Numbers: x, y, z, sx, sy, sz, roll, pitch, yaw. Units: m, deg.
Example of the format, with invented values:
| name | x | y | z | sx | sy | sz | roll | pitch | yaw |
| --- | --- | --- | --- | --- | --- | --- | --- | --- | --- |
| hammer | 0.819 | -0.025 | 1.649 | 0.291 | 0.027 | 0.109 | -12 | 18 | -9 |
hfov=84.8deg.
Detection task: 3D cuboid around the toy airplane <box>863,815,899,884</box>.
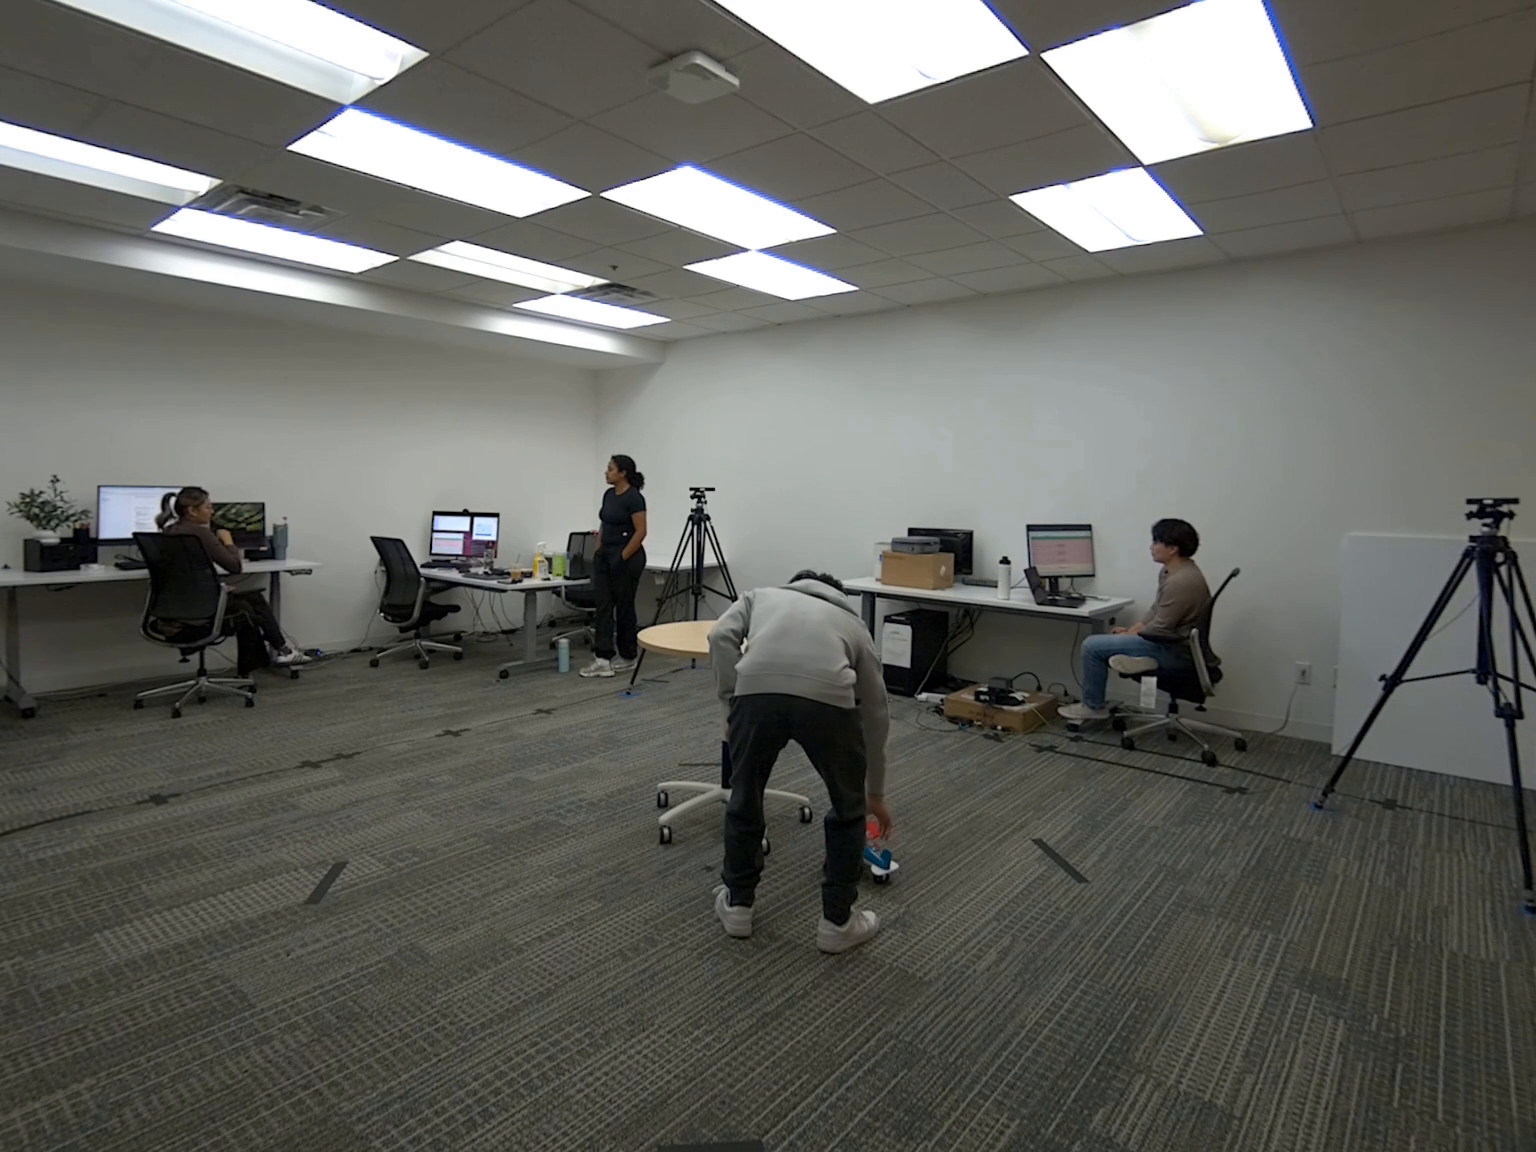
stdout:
| name | x | y | z | sx | sy | sz | roll | pitch | yaw |
| --- | --- | --- | --- | --- | --- | --- | --- | --- | --- |
| toy airplane | 0.347 | 1.003 | 3.111 | 0.265 | 0.156 | 0.246 | 2 | 3 | 22 |
